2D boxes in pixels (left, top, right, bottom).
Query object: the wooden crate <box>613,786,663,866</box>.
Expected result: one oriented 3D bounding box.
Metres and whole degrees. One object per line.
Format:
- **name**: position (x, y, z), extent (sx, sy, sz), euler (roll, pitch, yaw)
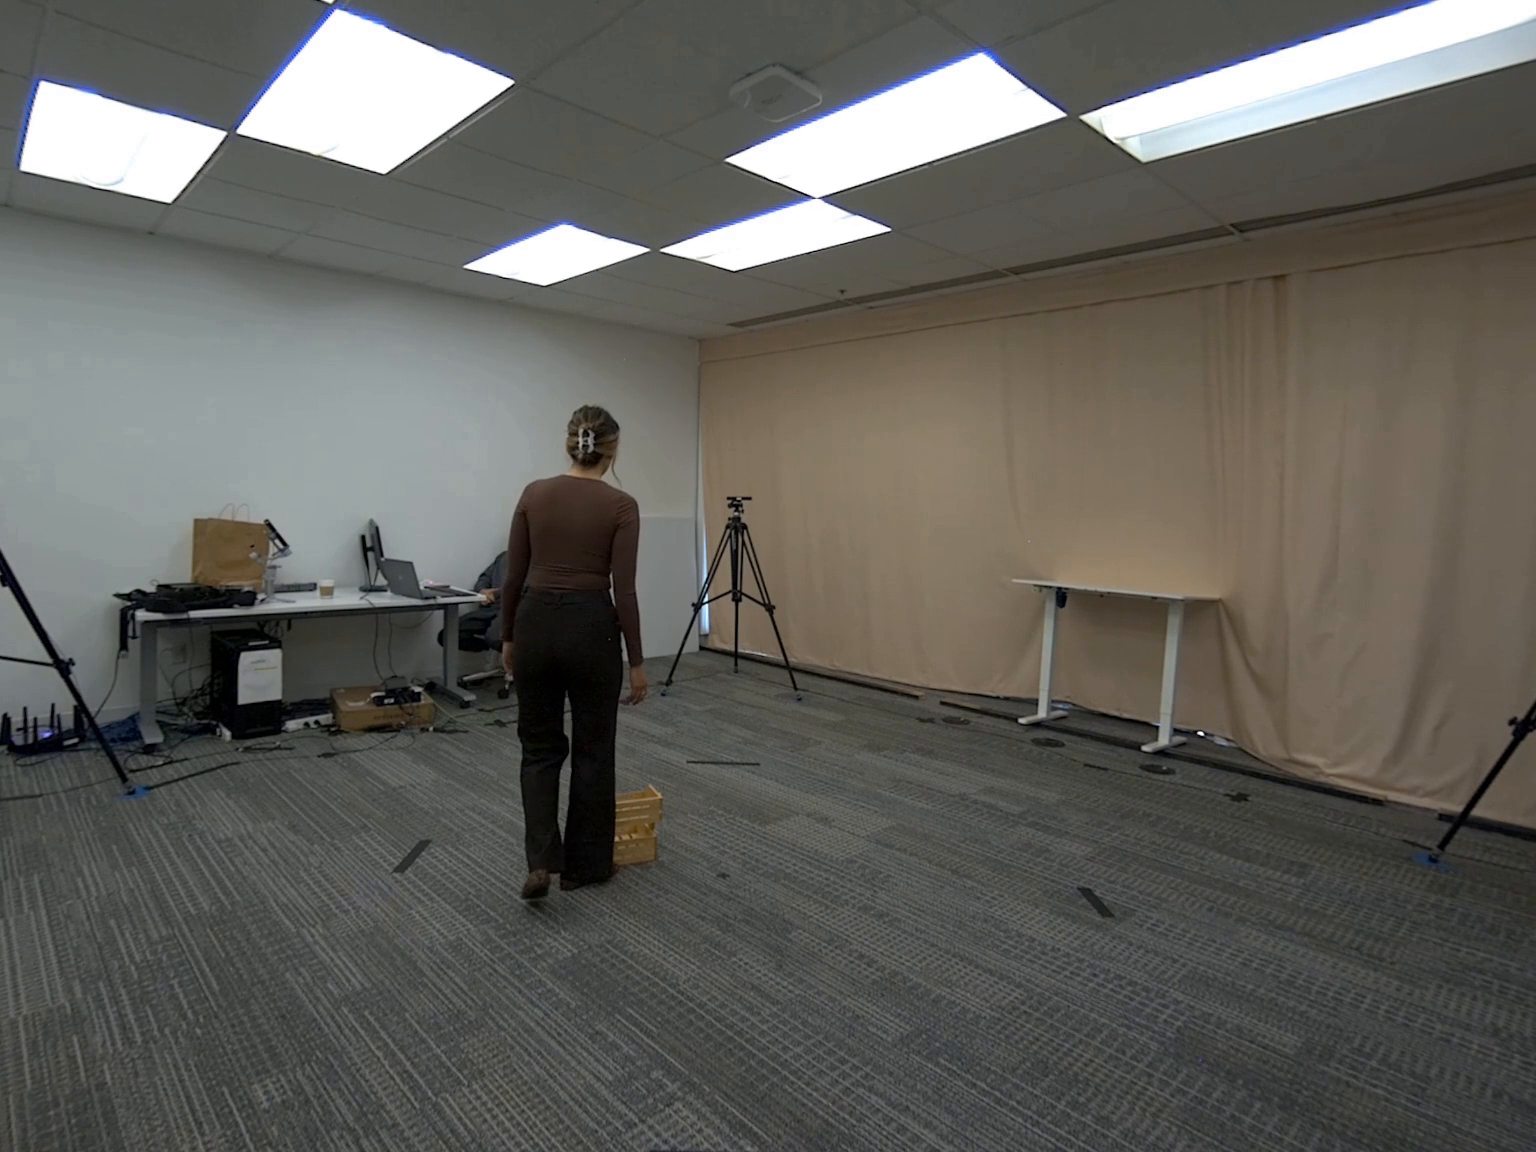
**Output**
- **wooden crate**: position (-0.611, 0.951, 3.257), extent (0.319, 0.272, 0.308), euler (-1, 5, -24)
